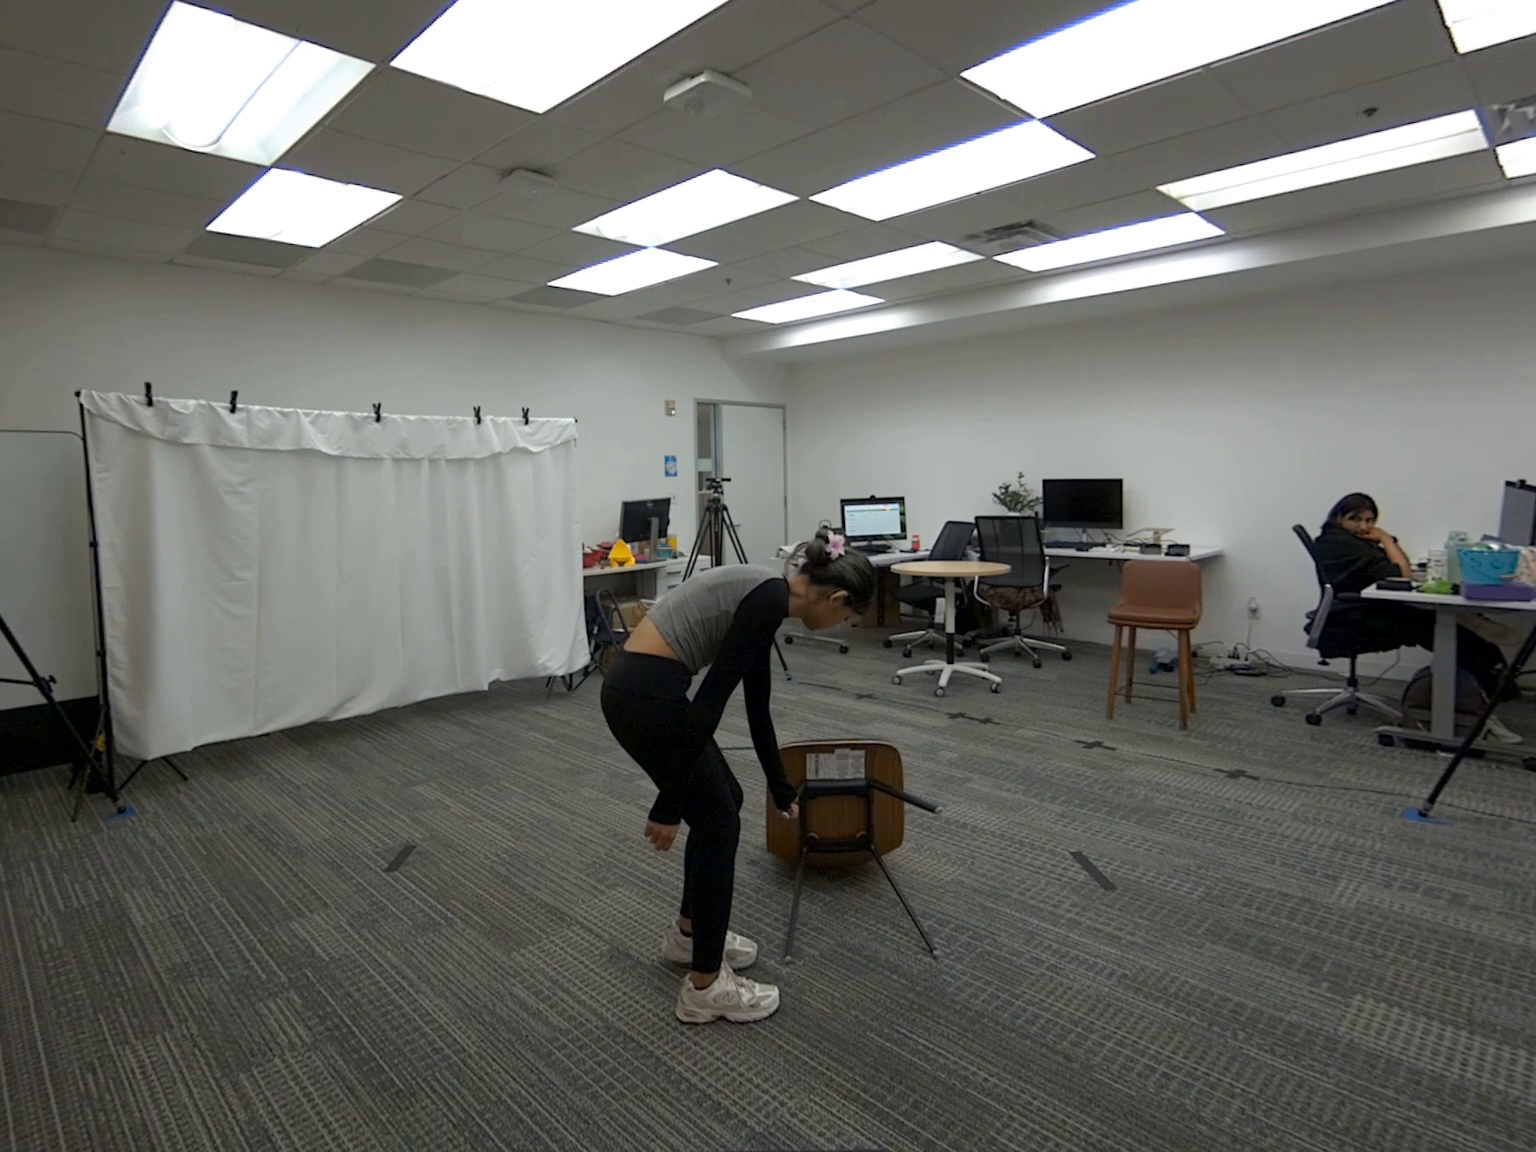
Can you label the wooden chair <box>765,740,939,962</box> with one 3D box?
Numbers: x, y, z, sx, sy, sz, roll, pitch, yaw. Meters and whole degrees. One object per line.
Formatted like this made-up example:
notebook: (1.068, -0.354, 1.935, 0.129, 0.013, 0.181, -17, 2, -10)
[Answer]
wooden chair: (0.236, 0.803, 2.865, 0.477, 0.521, 0.883, -1, 5, -4)
